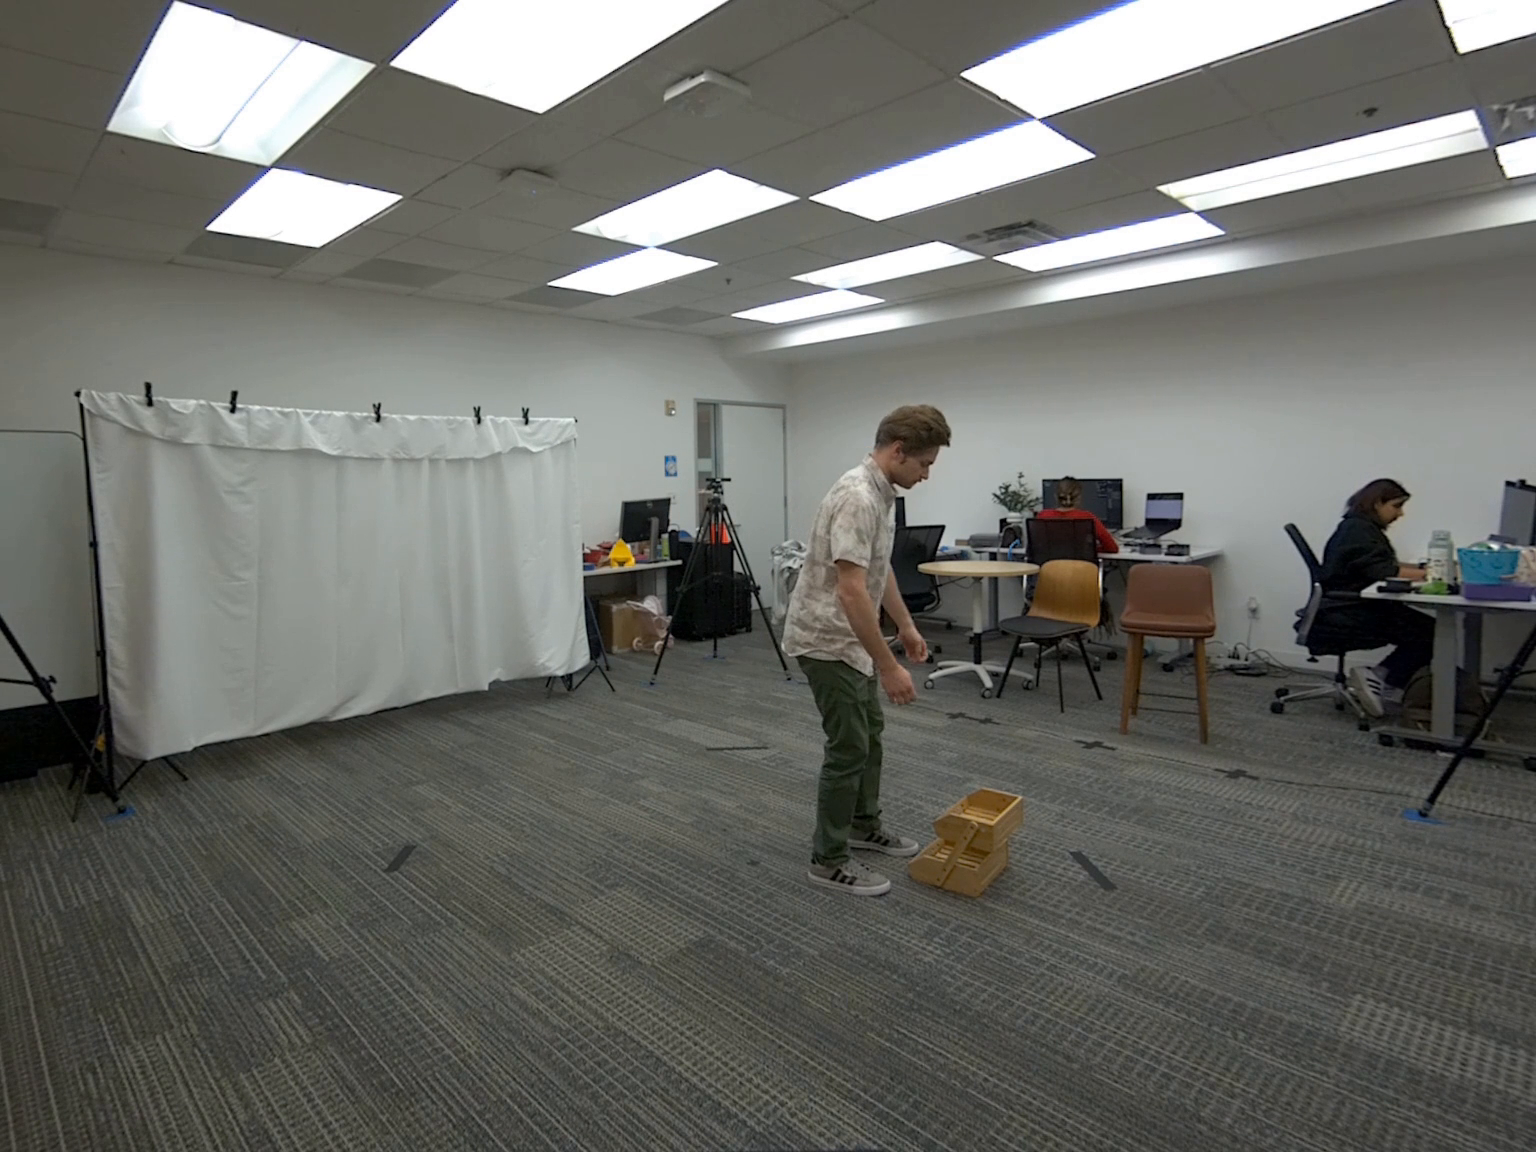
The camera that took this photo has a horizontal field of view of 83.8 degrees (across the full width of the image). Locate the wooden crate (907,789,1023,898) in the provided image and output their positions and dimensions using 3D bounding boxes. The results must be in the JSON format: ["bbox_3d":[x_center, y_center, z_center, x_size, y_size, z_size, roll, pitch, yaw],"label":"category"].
[{"bbox_3d":[0.690,0.912,2.985,0.311,0.272,0.317,5,8,33],"label":"wooden crate"}]
